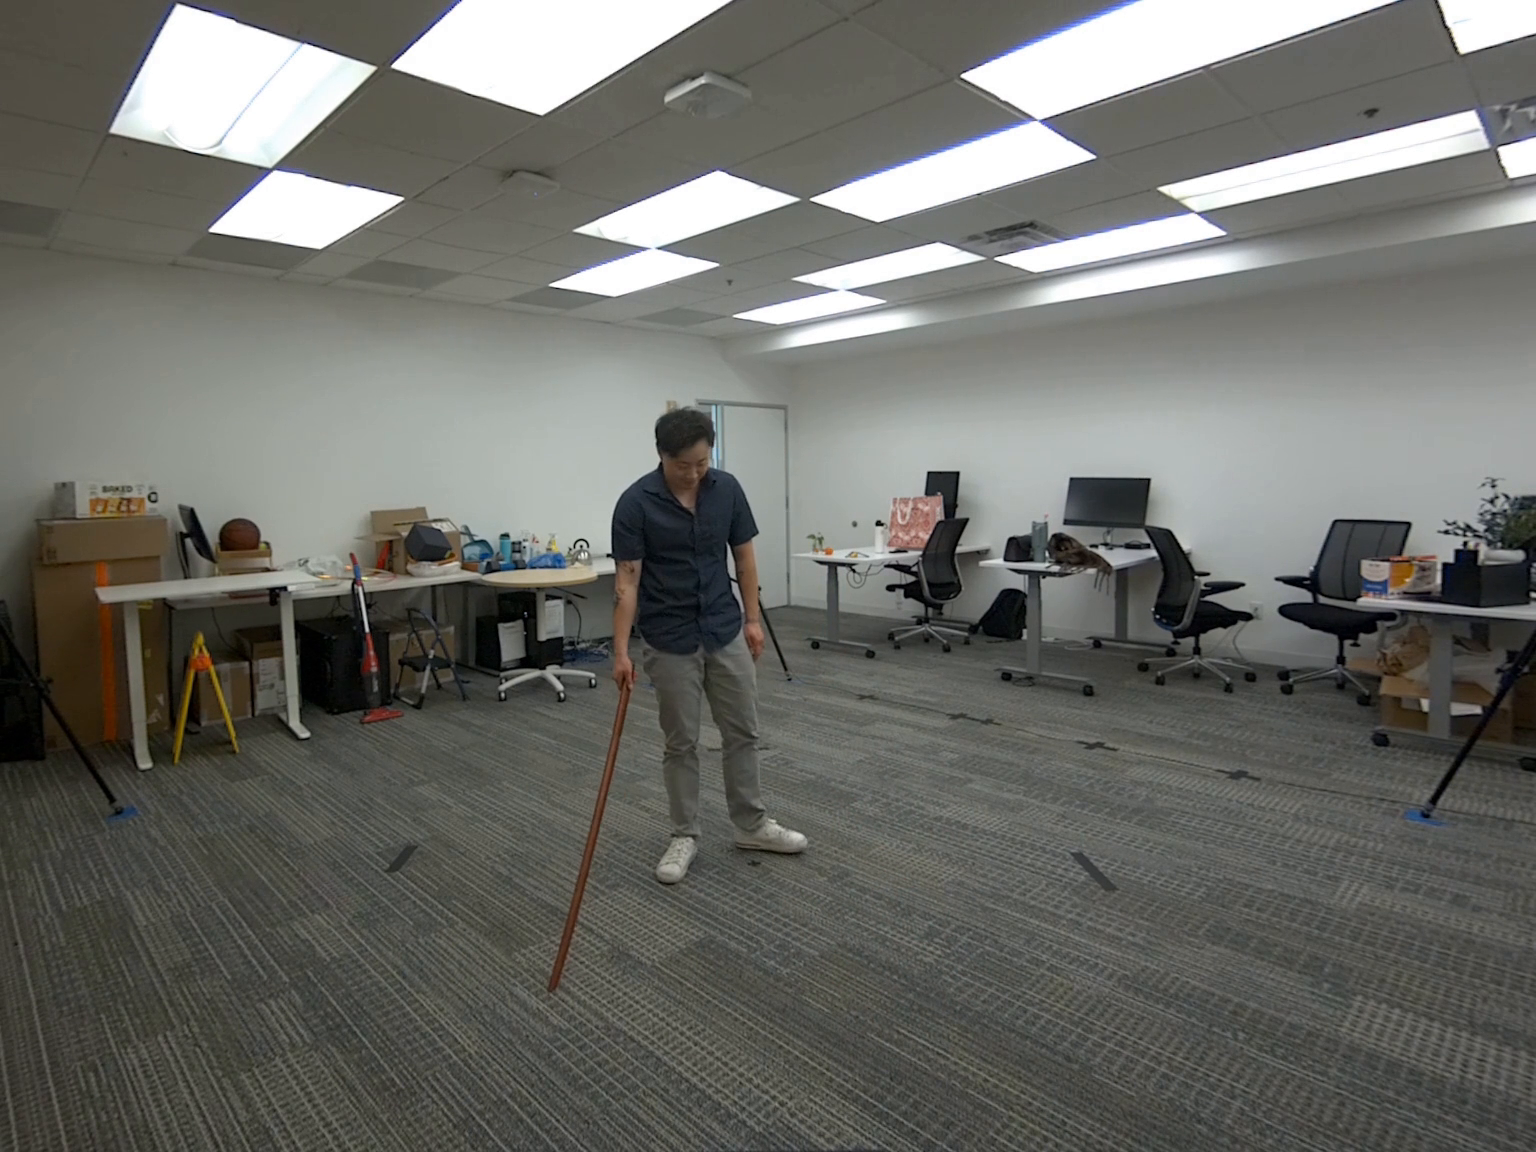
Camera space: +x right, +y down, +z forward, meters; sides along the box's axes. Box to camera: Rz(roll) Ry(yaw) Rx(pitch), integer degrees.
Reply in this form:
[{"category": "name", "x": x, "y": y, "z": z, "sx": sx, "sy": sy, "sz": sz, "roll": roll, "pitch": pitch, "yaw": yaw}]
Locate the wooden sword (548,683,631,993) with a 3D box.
[{"category": "wooden sword", "x": -0.518, "y": 0.732, "z": 2.650, "sx": 0.023, "sy": 1.046, "sz": 0.051, "roll": 22, "pitch": -37, "yaw": -18}]
